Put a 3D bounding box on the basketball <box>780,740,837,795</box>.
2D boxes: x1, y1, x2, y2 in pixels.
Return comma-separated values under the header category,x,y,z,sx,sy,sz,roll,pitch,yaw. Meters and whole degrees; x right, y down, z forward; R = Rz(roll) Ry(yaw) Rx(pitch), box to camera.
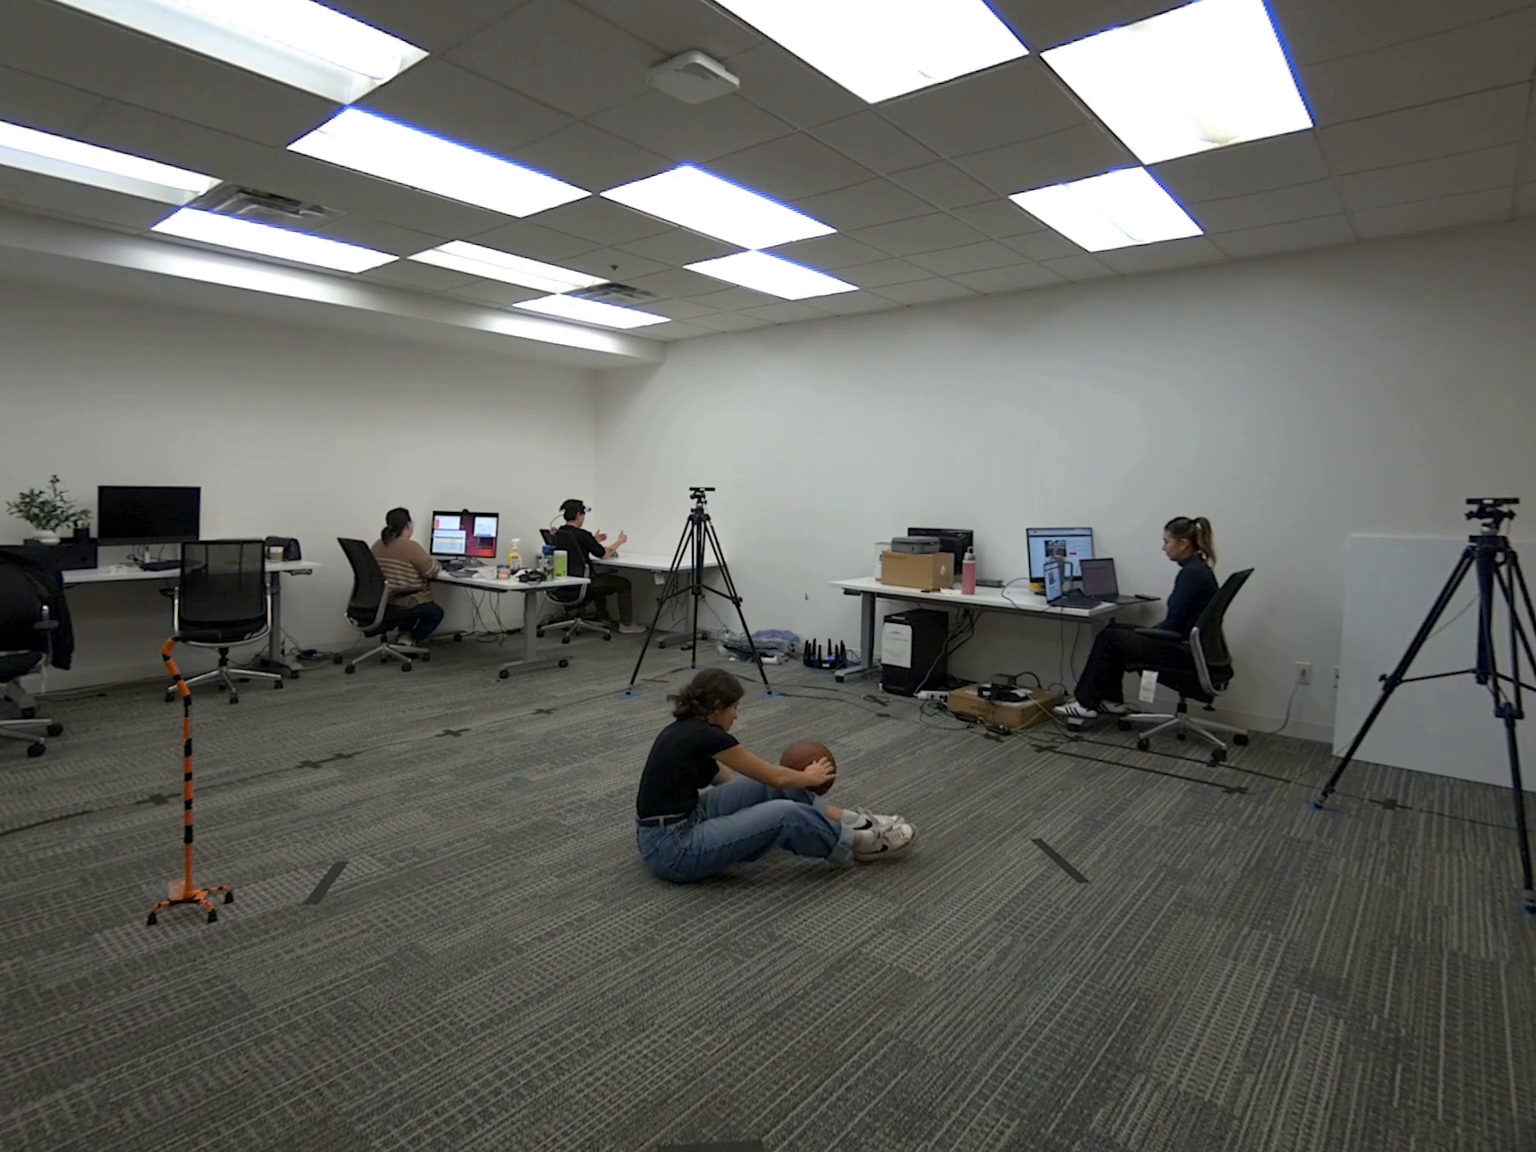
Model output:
category,x,y,z,sx,sy,sz,roll,pitch,yaw
basketball,0.160,0.809,3.579,0.235,0.235,0.237,1,4,-2
